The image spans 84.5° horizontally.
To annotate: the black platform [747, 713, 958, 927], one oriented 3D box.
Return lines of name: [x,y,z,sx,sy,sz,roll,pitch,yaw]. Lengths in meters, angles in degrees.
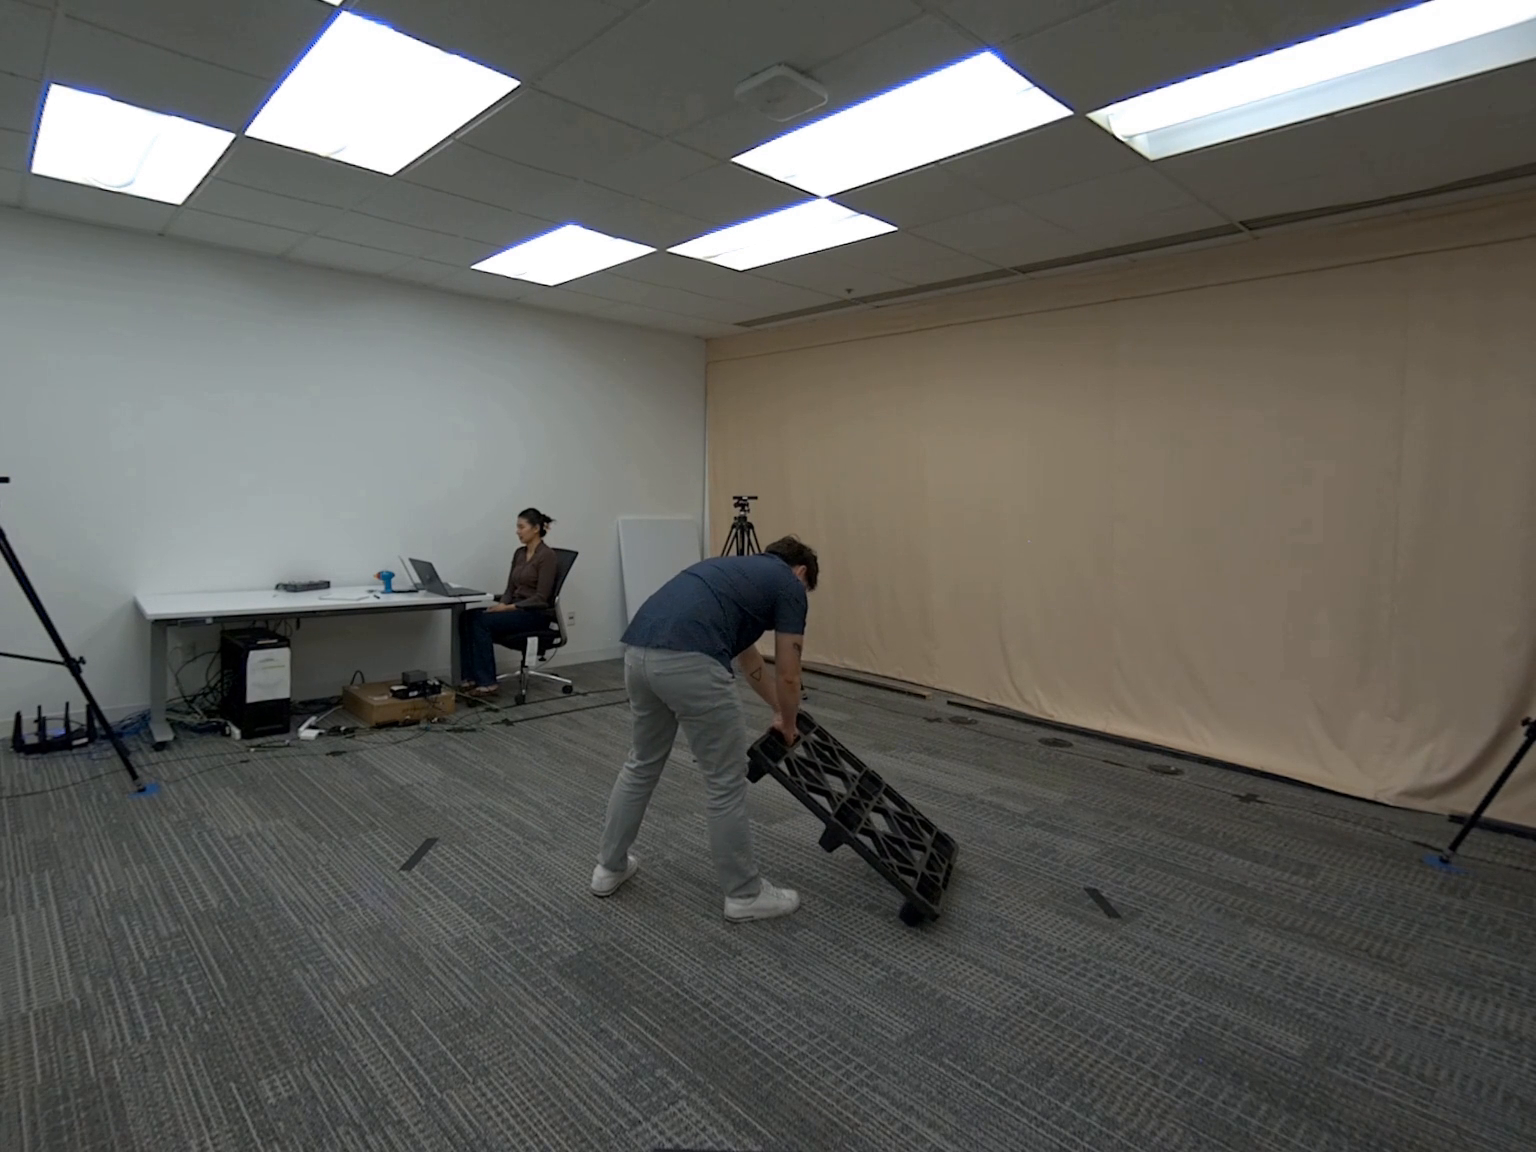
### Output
black platform: [0.286,0.848,3.056,0.818,0.143,0.597,39,14,14]
